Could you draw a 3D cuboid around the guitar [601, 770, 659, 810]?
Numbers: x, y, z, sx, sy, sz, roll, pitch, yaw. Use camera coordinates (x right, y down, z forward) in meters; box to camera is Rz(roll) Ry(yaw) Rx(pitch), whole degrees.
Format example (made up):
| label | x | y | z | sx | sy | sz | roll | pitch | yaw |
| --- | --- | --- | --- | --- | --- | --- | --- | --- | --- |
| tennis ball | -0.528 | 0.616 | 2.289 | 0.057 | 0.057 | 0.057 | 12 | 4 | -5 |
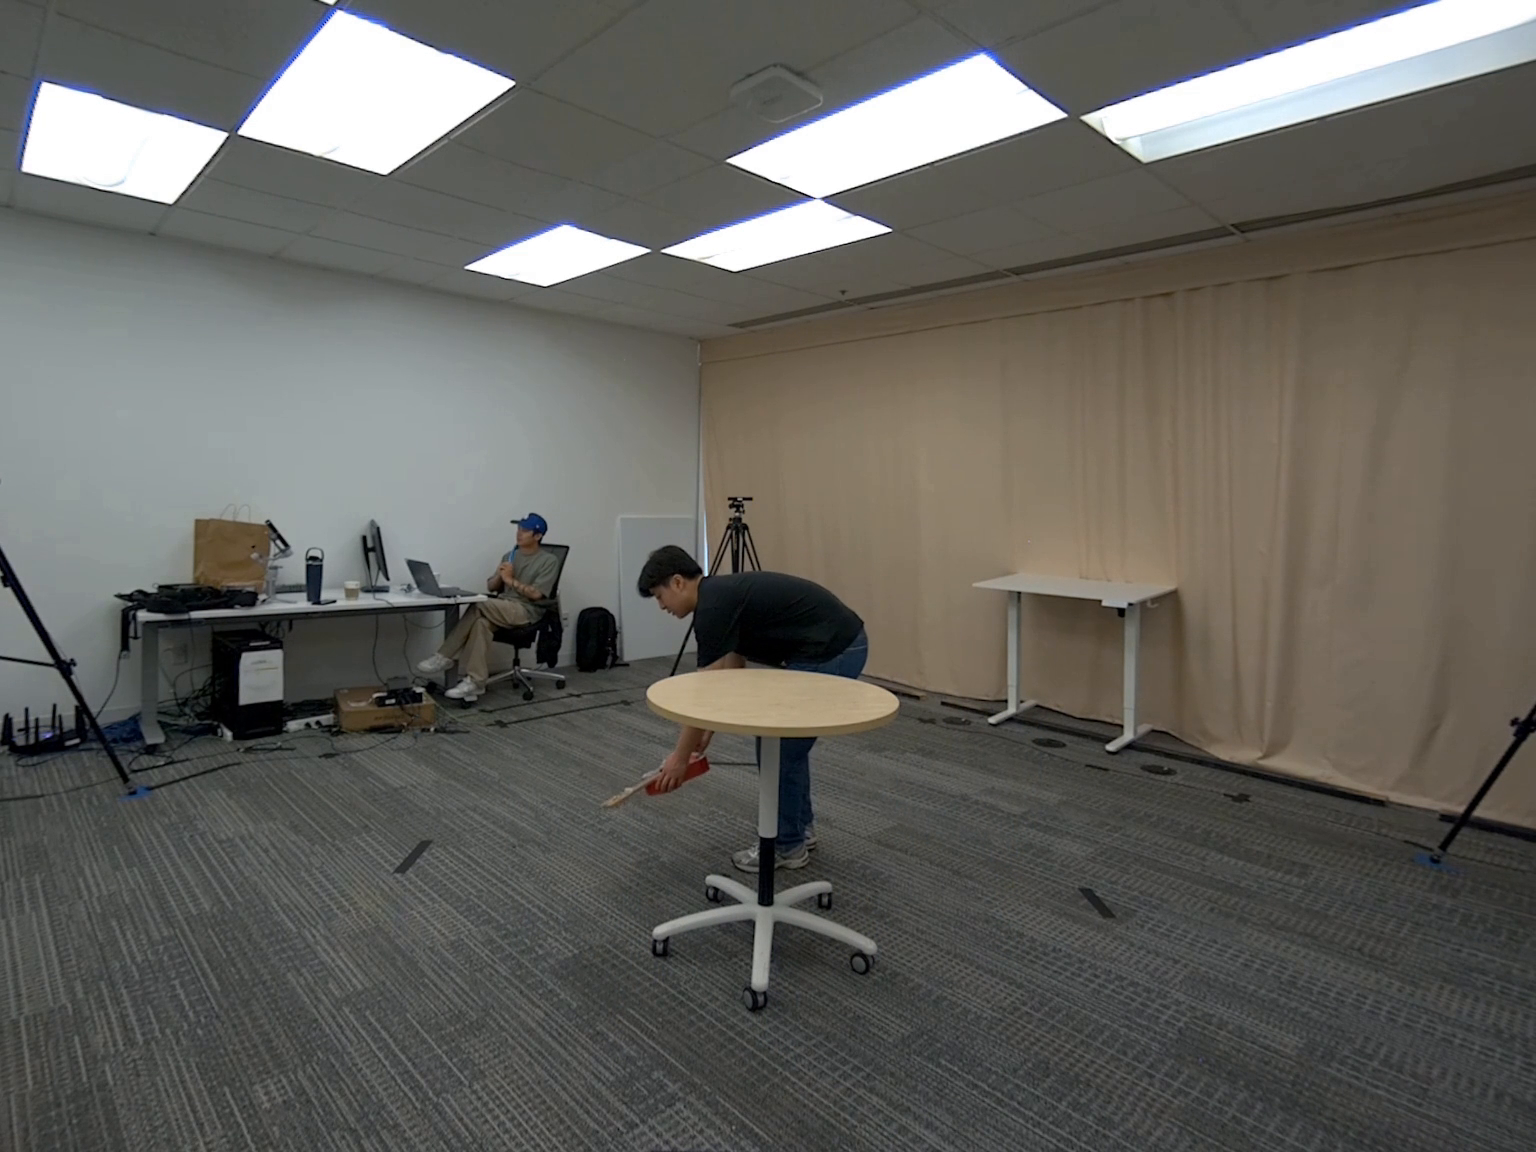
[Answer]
| label | x | y | z | sx | sy | sz | roll | pitch | yaw |
| --- | --- | --- | --- | --- | --- | --- | --- | --- | --- |
| guitar | -0.468 | 0.785 | 3.151 | 0.197 | 0.070 | 0.490 | -9 | 7 | 42 |
